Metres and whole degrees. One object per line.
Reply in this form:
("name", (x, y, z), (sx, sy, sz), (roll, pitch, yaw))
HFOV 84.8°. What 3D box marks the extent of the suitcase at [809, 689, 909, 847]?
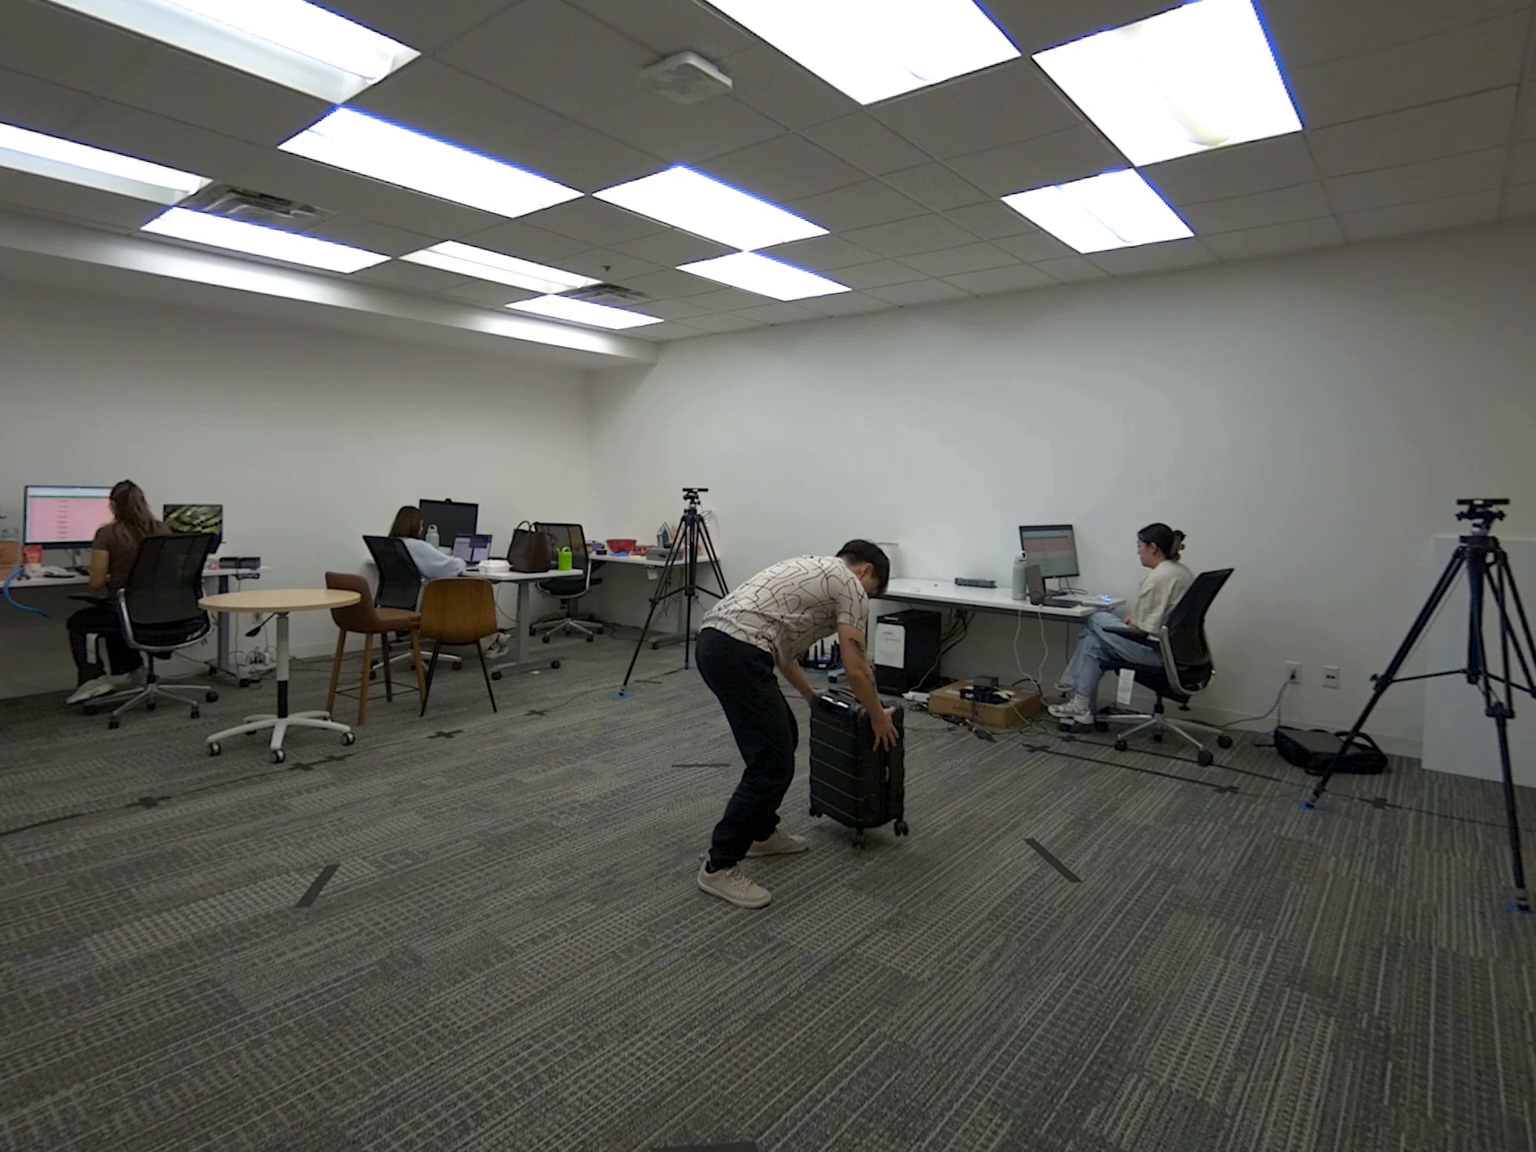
("suitcase", (0.348, 0.734, 3.430), (0.242, 0.546, 0.387), (-4, 6, -32))
